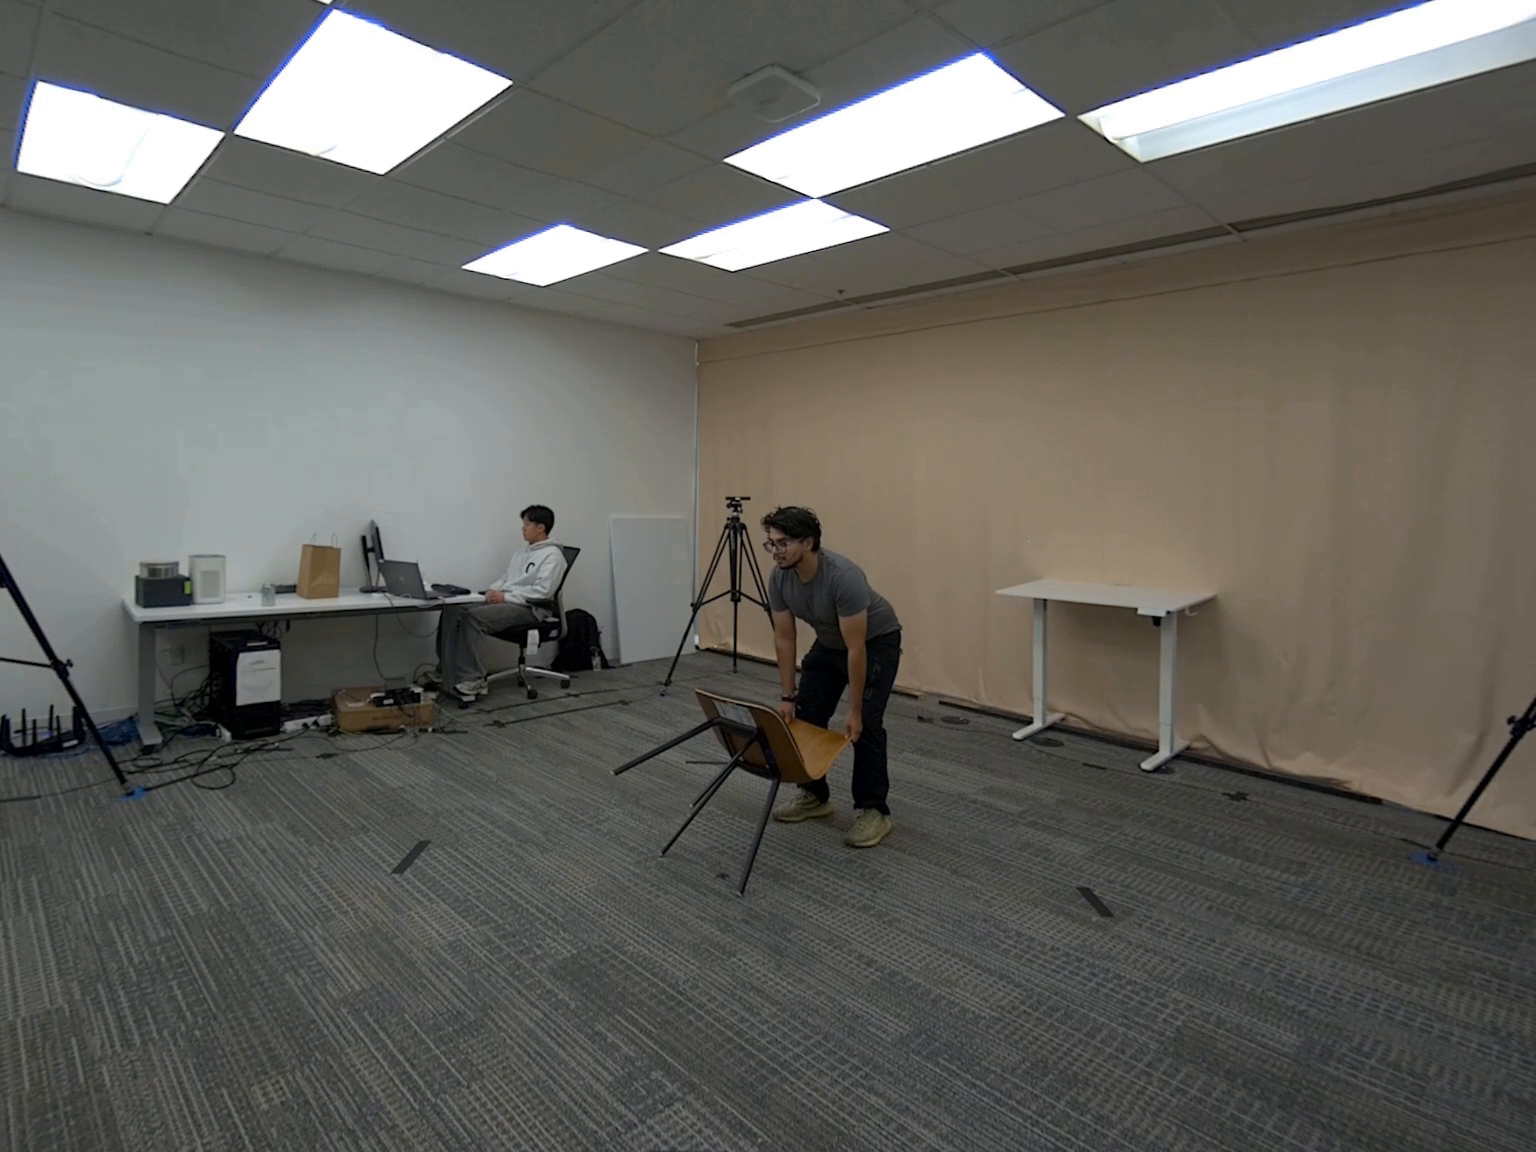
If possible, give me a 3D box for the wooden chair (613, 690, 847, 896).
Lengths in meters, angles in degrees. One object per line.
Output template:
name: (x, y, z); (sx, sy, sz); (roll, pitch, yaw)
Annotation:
wooden chair: (-0.091, 0.670, 3.239); (0.490, 0.512, 0.873); (5, 34, 44)
